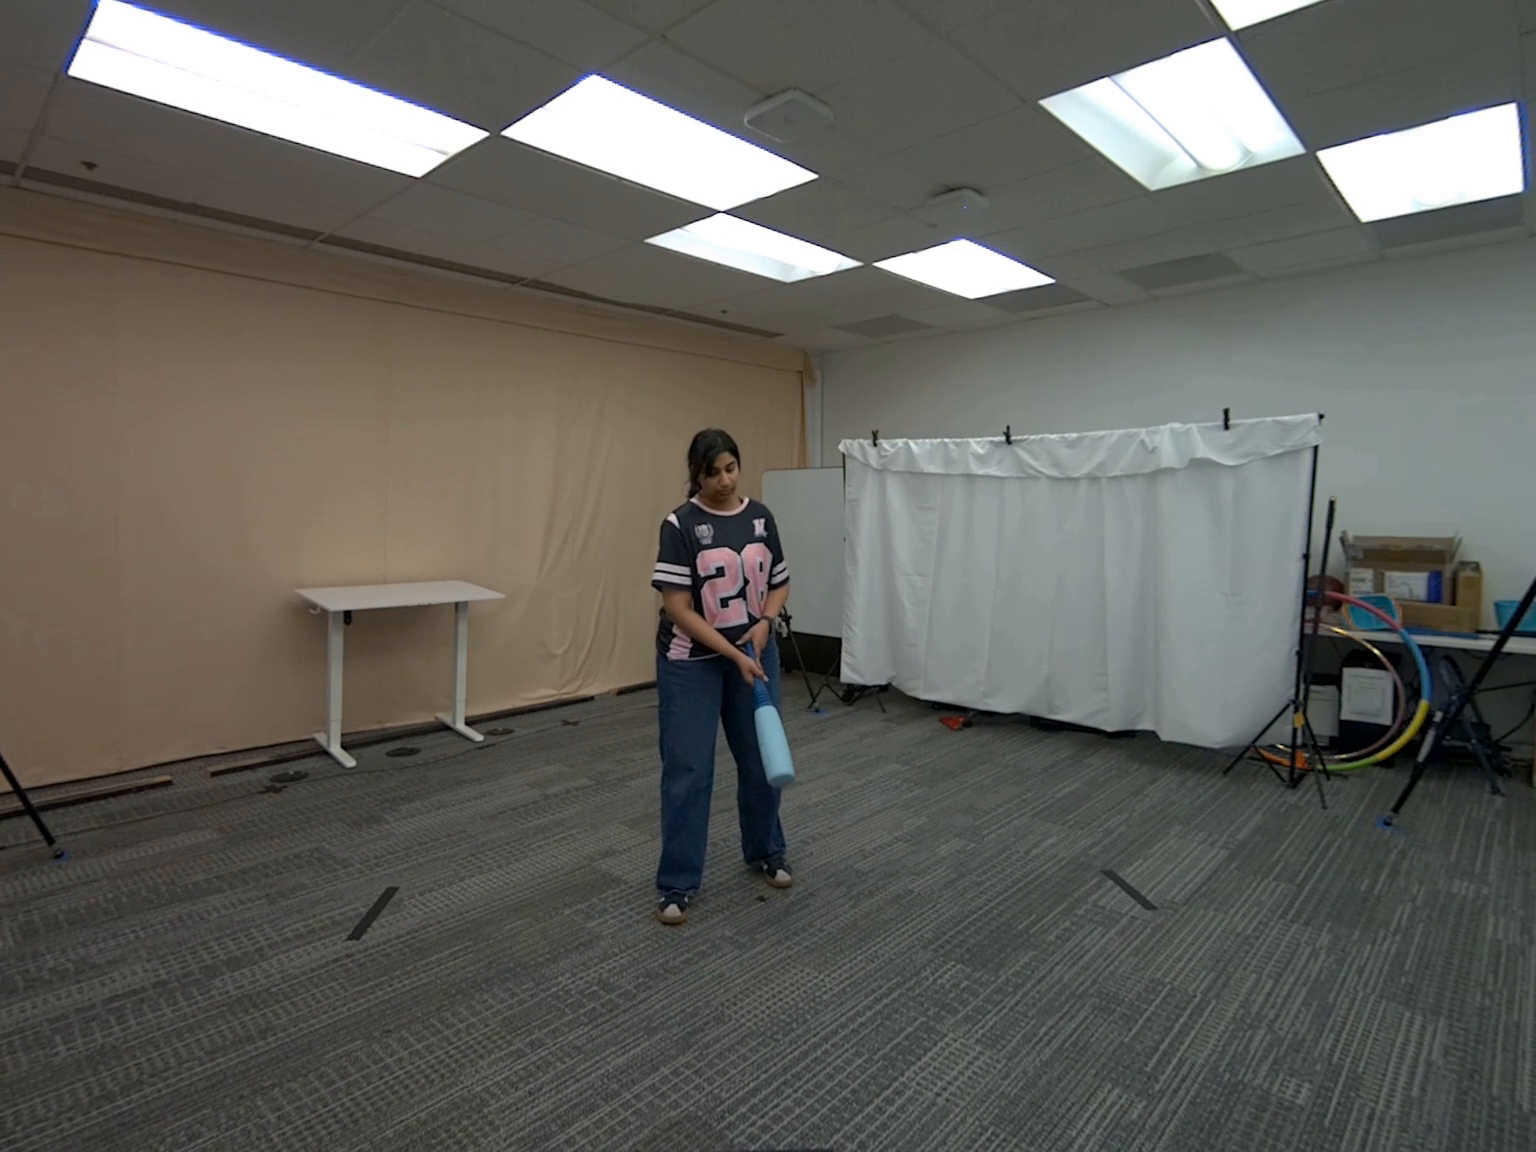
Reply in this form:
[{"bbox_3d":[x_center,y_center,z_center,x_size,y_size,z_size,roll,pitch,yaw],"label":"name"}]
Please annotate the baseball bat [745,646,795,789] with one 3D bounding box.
[{"bbox_3d":[-0.002,0.419,2.712,0.088,0.088,0.557,-2,46,-14],"label":"baseball bat"}]
